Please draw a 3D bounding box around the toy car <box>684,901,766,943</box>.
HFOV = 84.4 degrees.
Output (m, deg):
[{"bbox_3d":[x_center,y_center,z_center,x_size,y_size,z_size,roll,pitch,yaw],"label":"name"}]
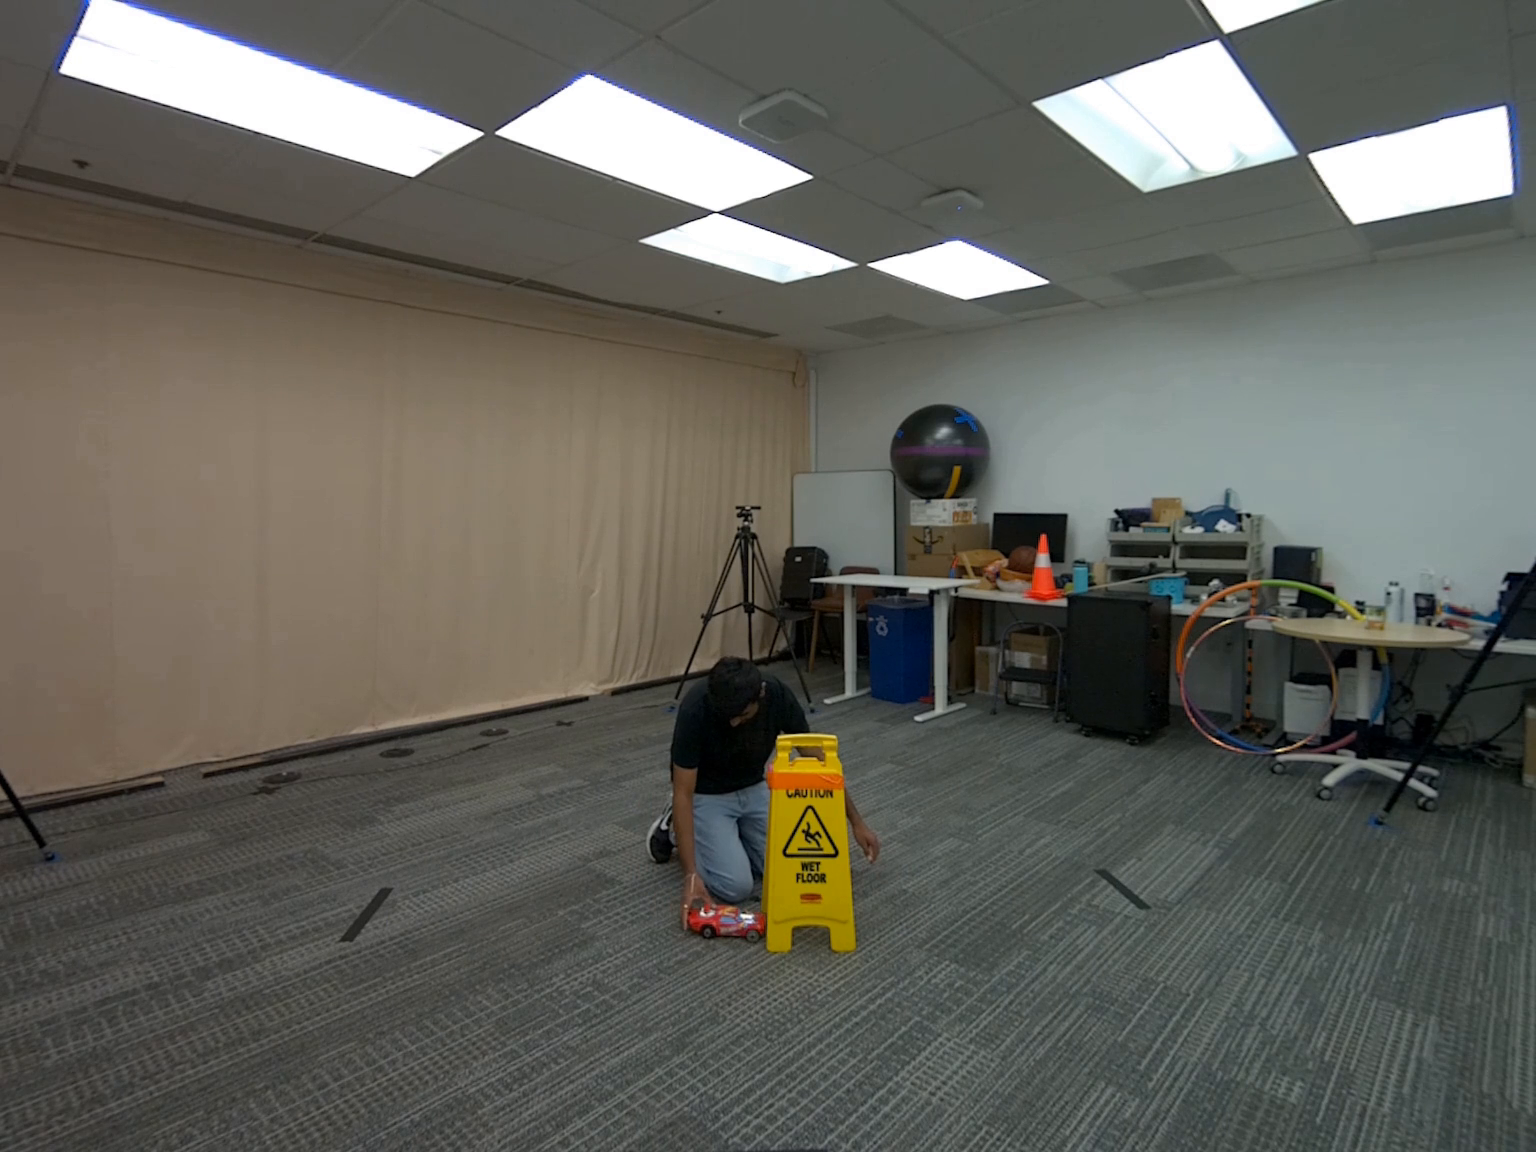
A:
[{"bbox_3d":[-0.154,1.126,2.757,0.256,0.083,0.129,11,6,6],"label":"toy car"}]
